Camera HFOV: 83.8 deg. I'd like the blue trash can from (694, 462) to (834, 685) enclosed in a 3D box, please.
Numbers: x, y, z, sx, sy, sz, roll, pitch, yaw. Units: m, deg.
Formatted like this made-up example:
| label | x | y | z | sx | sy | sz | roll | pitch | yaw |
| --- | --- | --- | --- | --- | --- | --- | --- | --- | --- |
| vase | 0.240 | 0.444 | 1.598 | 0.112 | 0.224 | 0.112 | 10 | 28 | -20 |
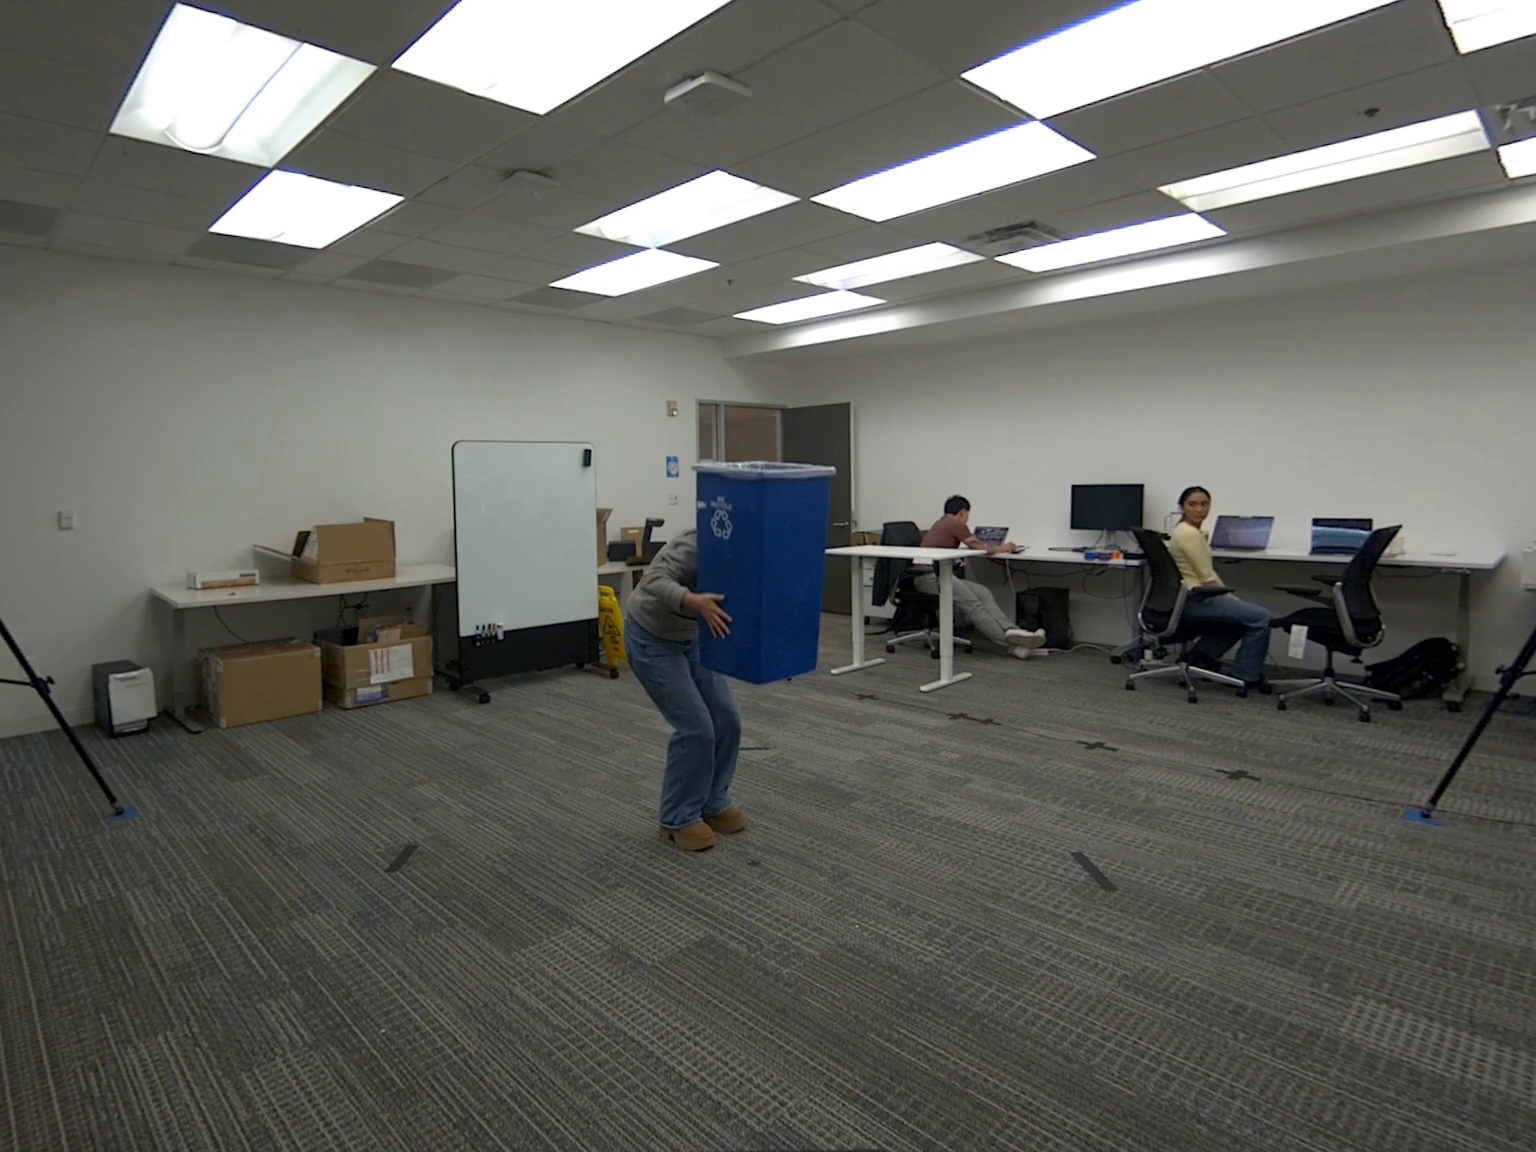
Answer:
| label | x | y | z | sx | sy | sz | roll | pitch | yaw |
| --- | --- | --- | --- | --- | --- | --- | --- | --- | --- |
| blue trash can | -0.019 | -0.018 | 2.959 | 0.386 | 0.708 | 0.369 | 8 | 12 | 41 |
